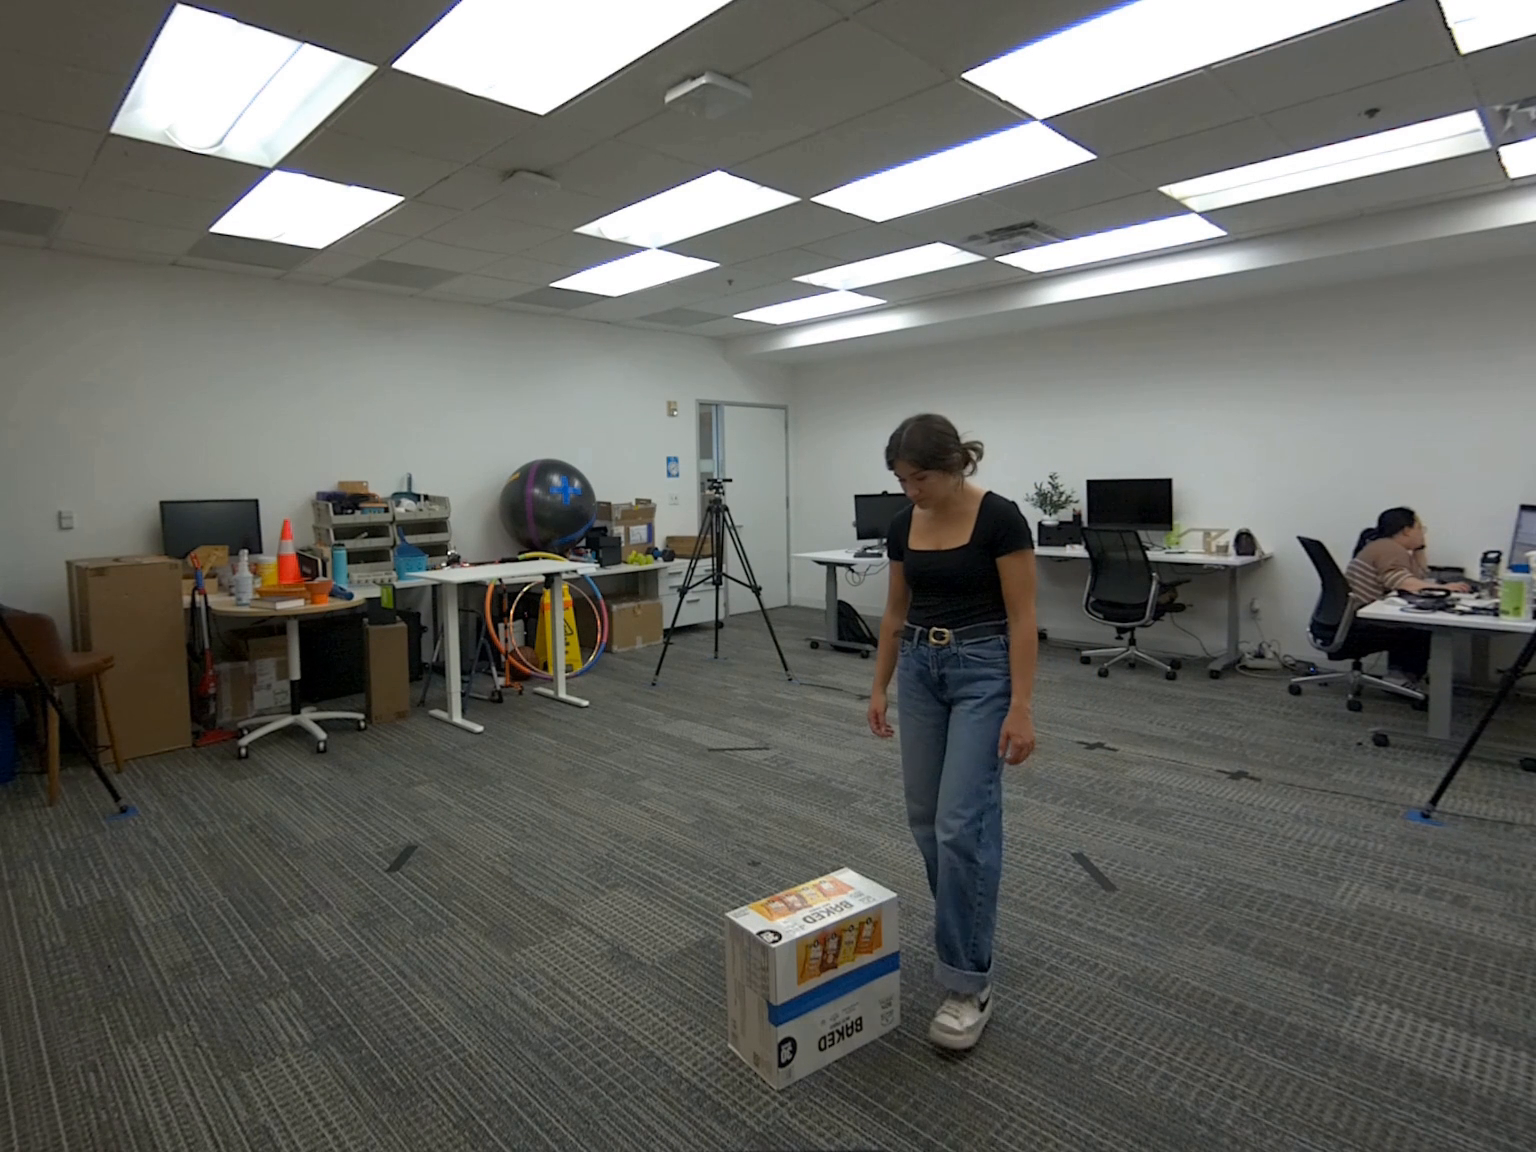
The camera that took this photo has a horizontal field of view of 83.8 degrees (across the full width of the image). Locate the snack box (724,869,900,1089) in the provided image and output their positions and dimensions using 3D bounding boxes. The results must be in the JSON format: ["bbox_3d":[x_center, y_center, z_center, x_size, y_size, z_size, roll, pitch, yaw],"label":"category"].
[{"bbox_3d":[0.121,0.988,2.133,0.395,0.339,0.211,-5,4,-36],"label":"snack box"}]
